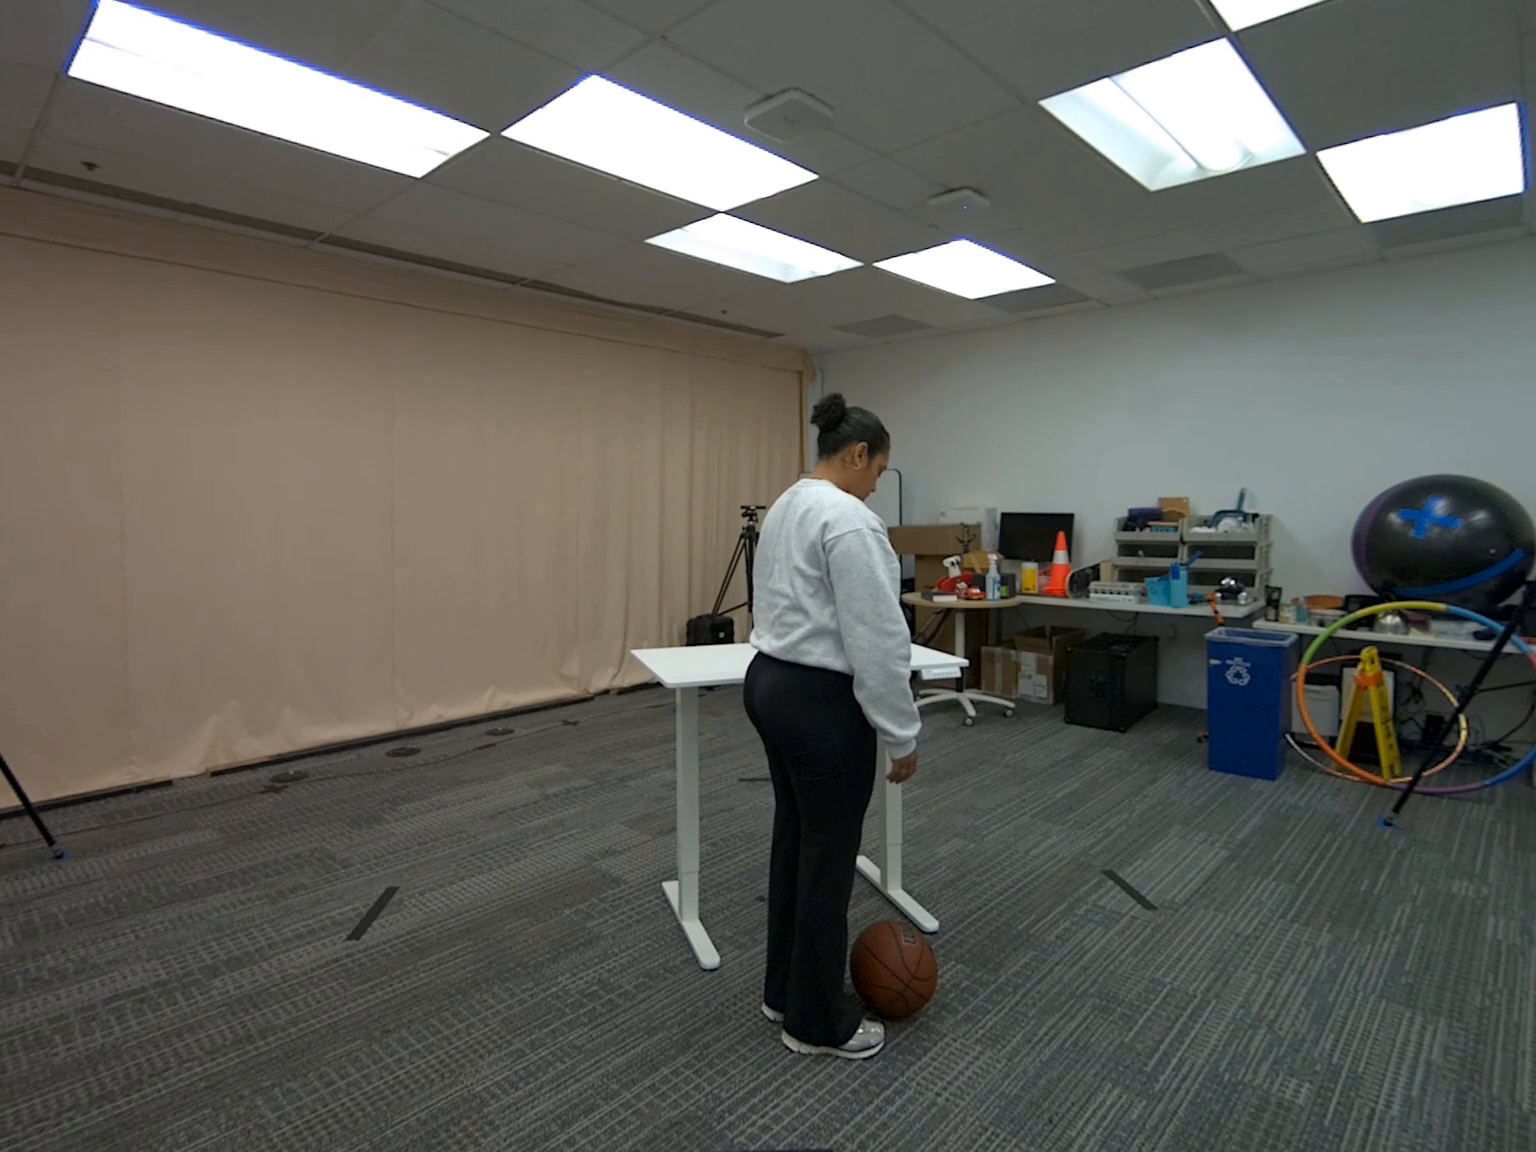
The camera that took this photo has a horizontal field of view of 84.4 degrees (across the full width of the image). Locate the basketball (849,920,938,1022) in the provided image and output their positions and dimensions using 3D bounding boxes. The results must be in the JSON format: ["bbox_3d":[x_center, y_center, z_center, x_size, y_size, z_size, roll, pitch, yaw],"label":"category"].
[{"bbox_3d":[0.347,1.081,2.315,0.236,0.235,0.237,0,4,-2],"label":"basketball"}]
